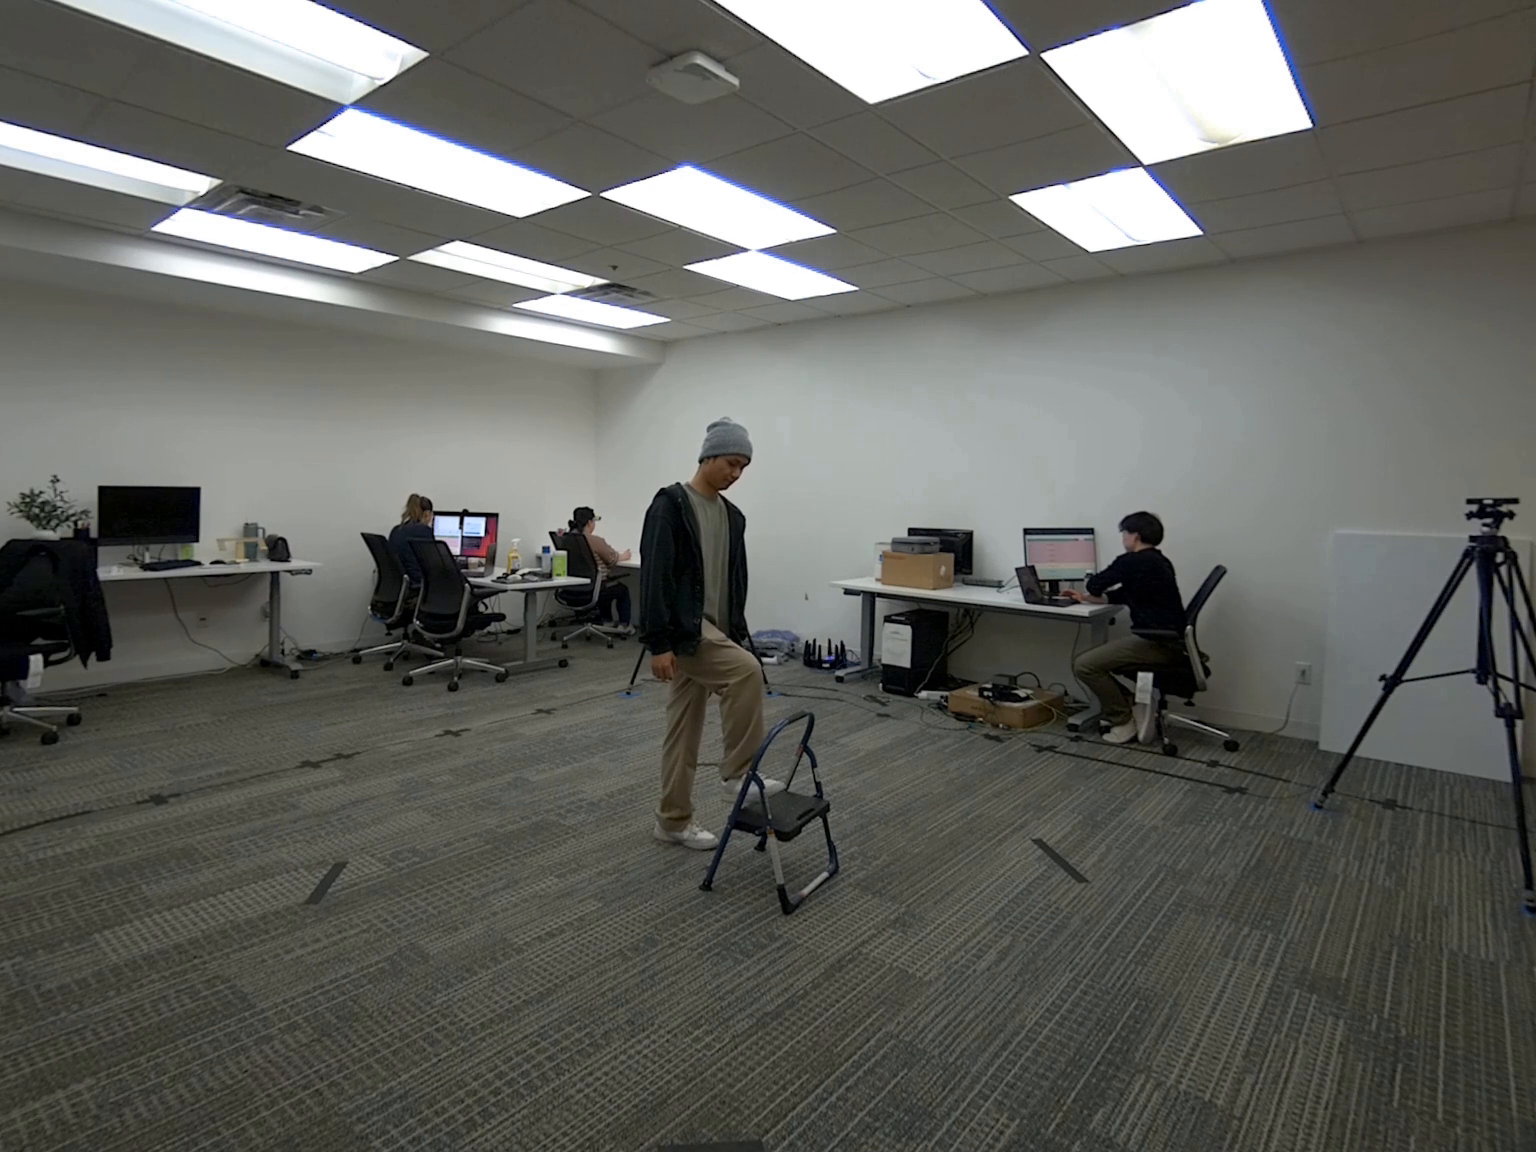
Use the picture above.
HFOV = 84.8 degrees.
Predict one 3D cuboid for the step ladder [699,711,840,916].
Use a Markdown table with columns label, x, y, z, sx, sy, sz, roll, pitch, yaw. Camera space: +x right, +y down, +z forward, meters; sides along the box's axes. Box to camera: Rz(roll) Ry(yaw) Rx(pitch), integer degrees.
| label | x | y | z | sx | sy | sz | roll | pitch | yaw |
| --- | --- | --- | --- | --- | --- | --- | --- | --- | --- |
| step ladder | 0.016 | 0.776 | 3.018 | 0.359 | 0.604 | 0.420 | 4 | 4 | 29 |
